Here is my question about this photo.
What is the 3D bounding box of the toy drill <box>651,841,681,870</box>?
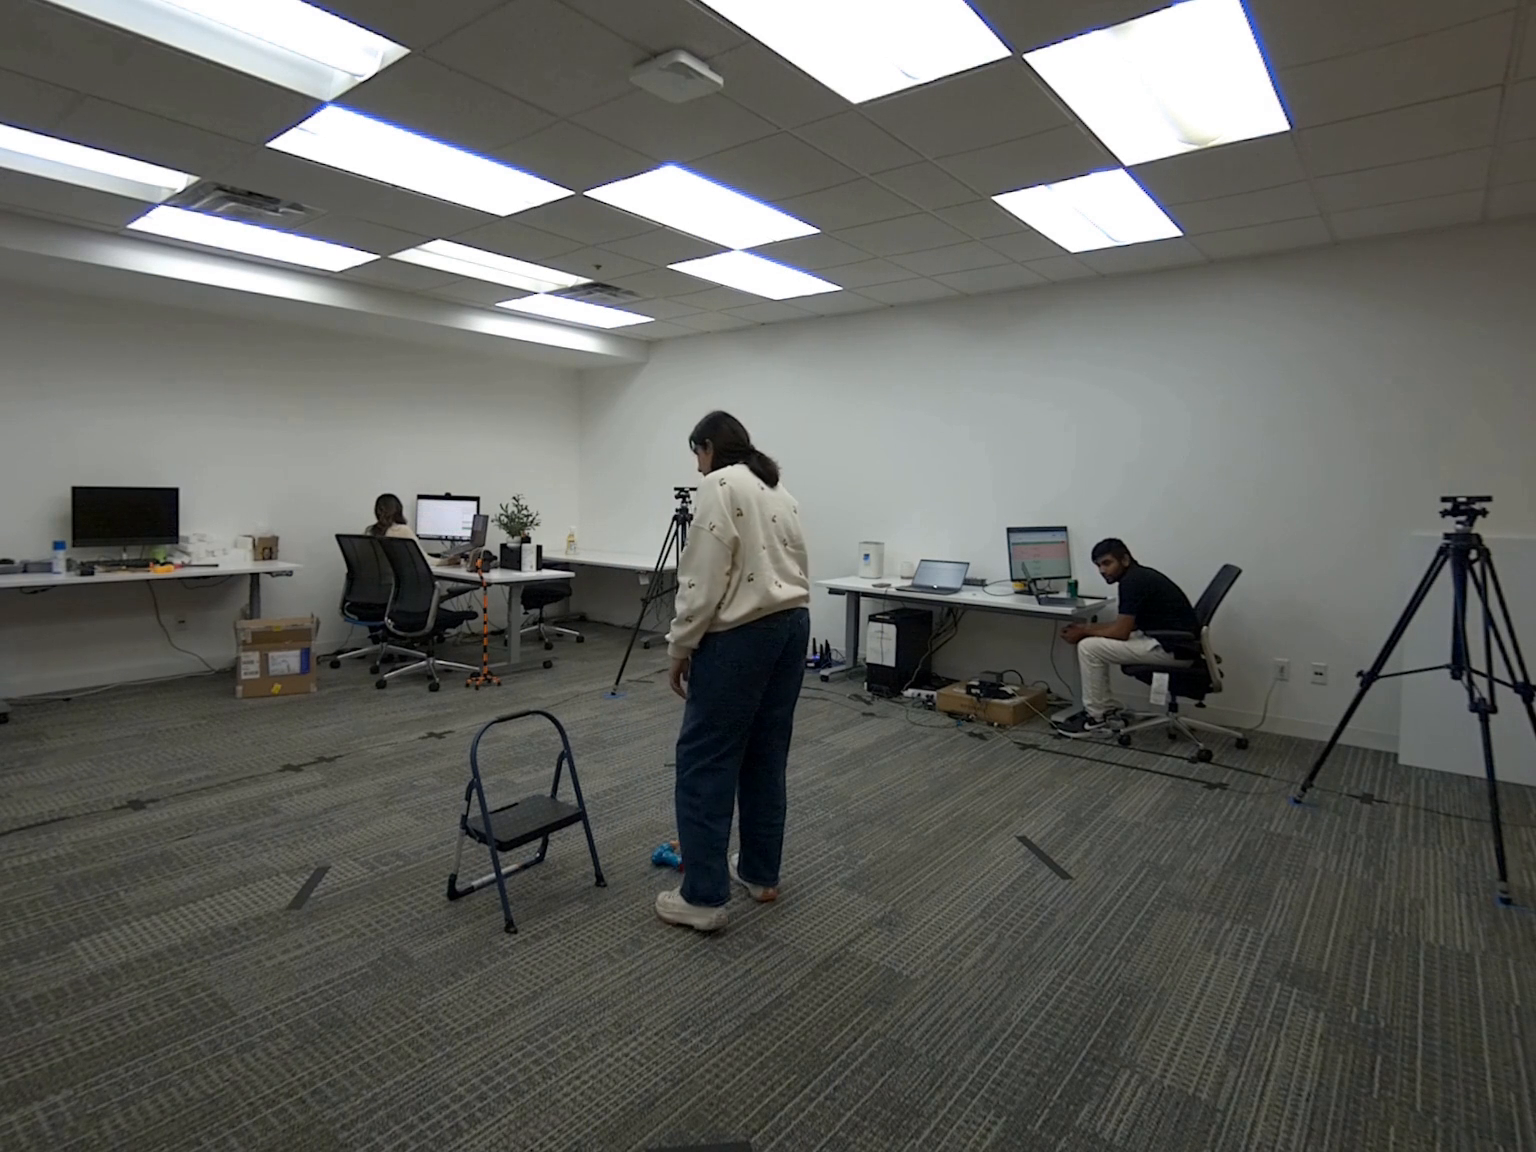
[{"bbox_3d":[-0.357,1.033,3.157,0.150,0.061,0.166,3,10,28],"label":"toy drill"}]
